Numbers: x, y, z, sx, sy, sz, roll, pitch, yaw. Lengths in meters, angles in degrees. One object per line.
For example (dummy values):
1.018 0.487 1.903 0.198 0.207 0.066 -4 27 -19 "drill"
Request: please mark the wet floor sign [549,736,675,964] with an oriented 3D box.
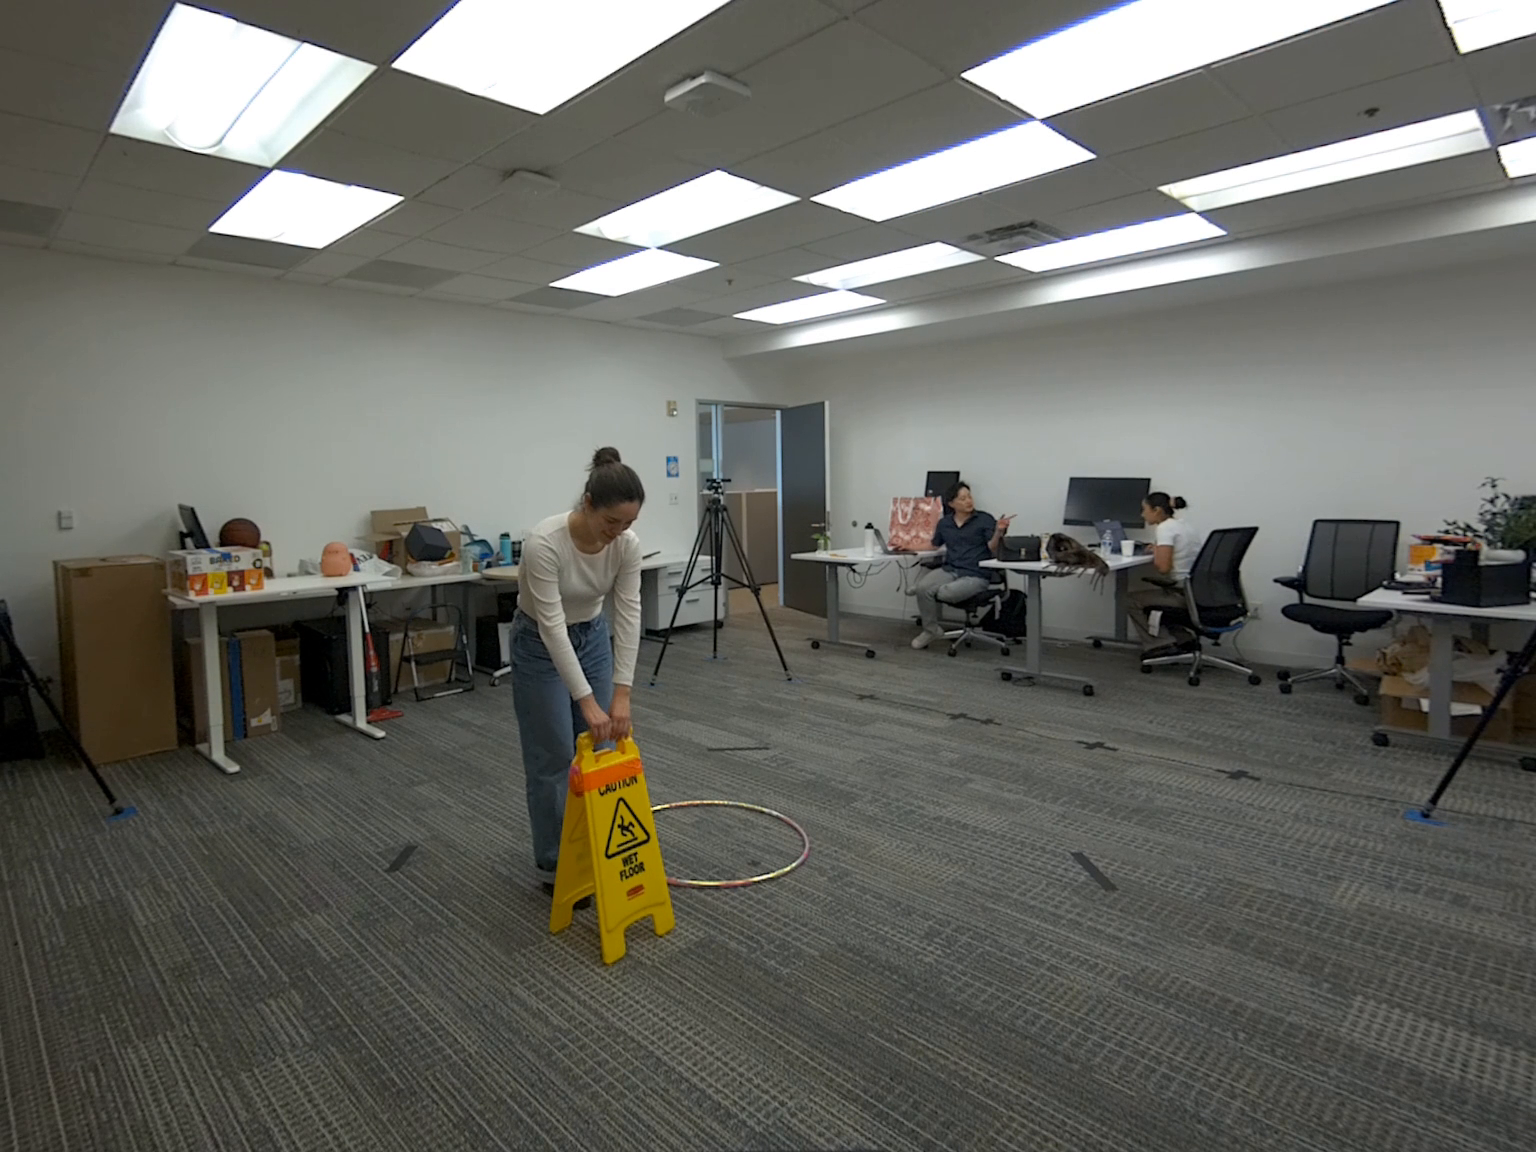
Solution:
-0.490 0.781 2.643 0.298 0.643 0.275 3 7 42 "wet floor sign"
